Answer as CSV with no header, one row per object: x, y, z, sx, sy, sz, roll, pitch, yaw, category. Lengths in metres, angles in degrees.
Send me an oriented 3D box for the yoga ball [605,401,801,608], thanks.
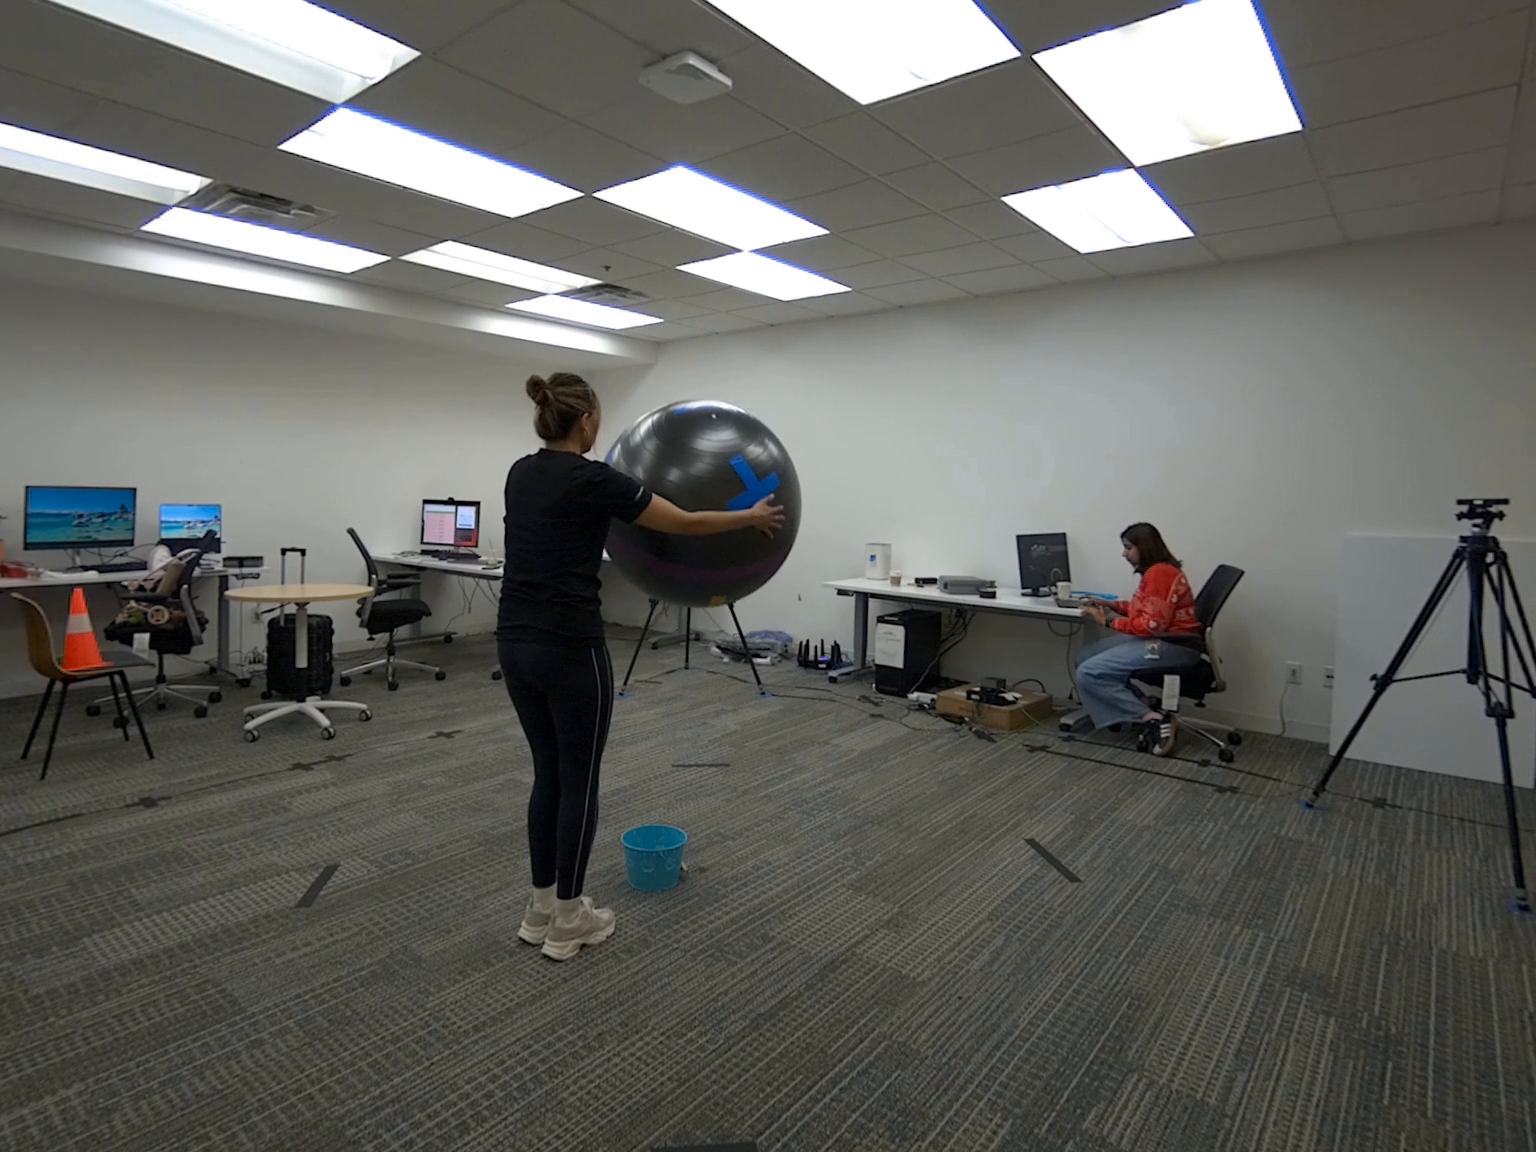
-0.263,-0.260,3.118,0.757,0.755,0.762,1,4,-2,yoga ball
